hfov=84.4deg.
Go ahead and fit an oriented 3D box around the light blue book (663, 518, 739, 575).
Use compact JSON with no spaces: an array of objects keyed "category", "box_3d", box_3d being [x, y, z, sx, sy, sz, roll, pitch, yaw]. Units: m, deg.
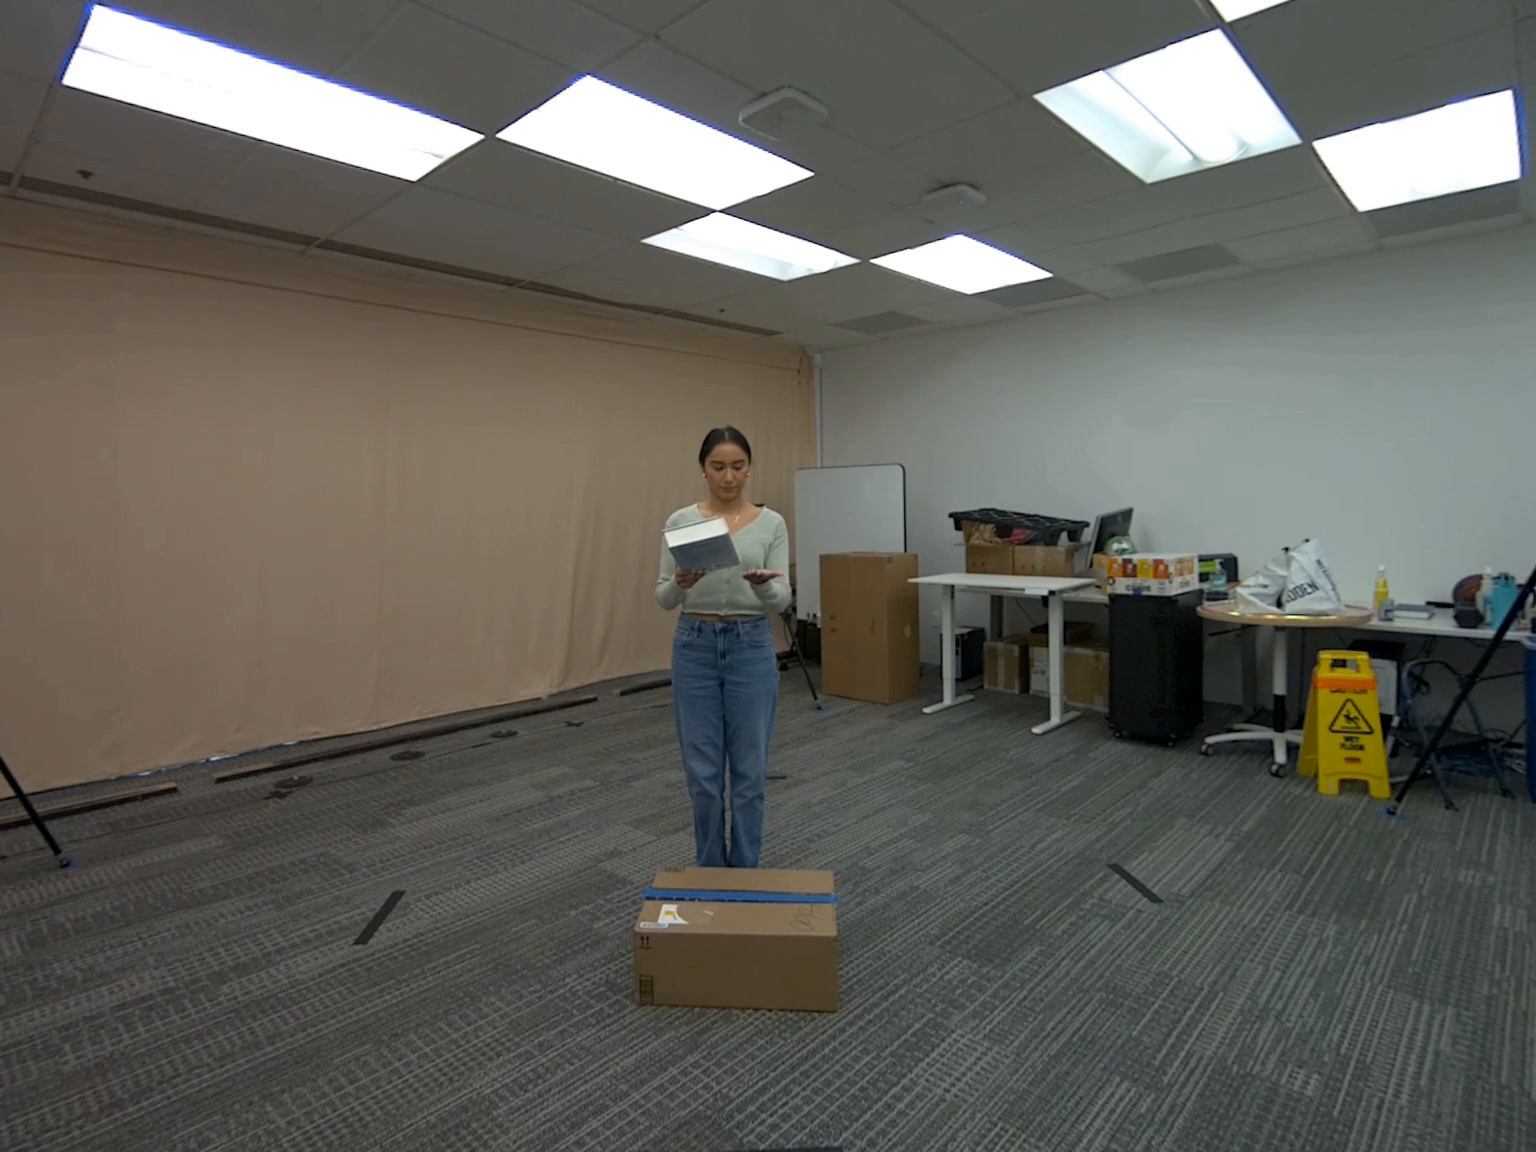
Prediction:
[{"category":"light blue book","box_3d":[-0.205,-0.081,2.570,0.192,0.060,0.256,-14,-21,3]}]
